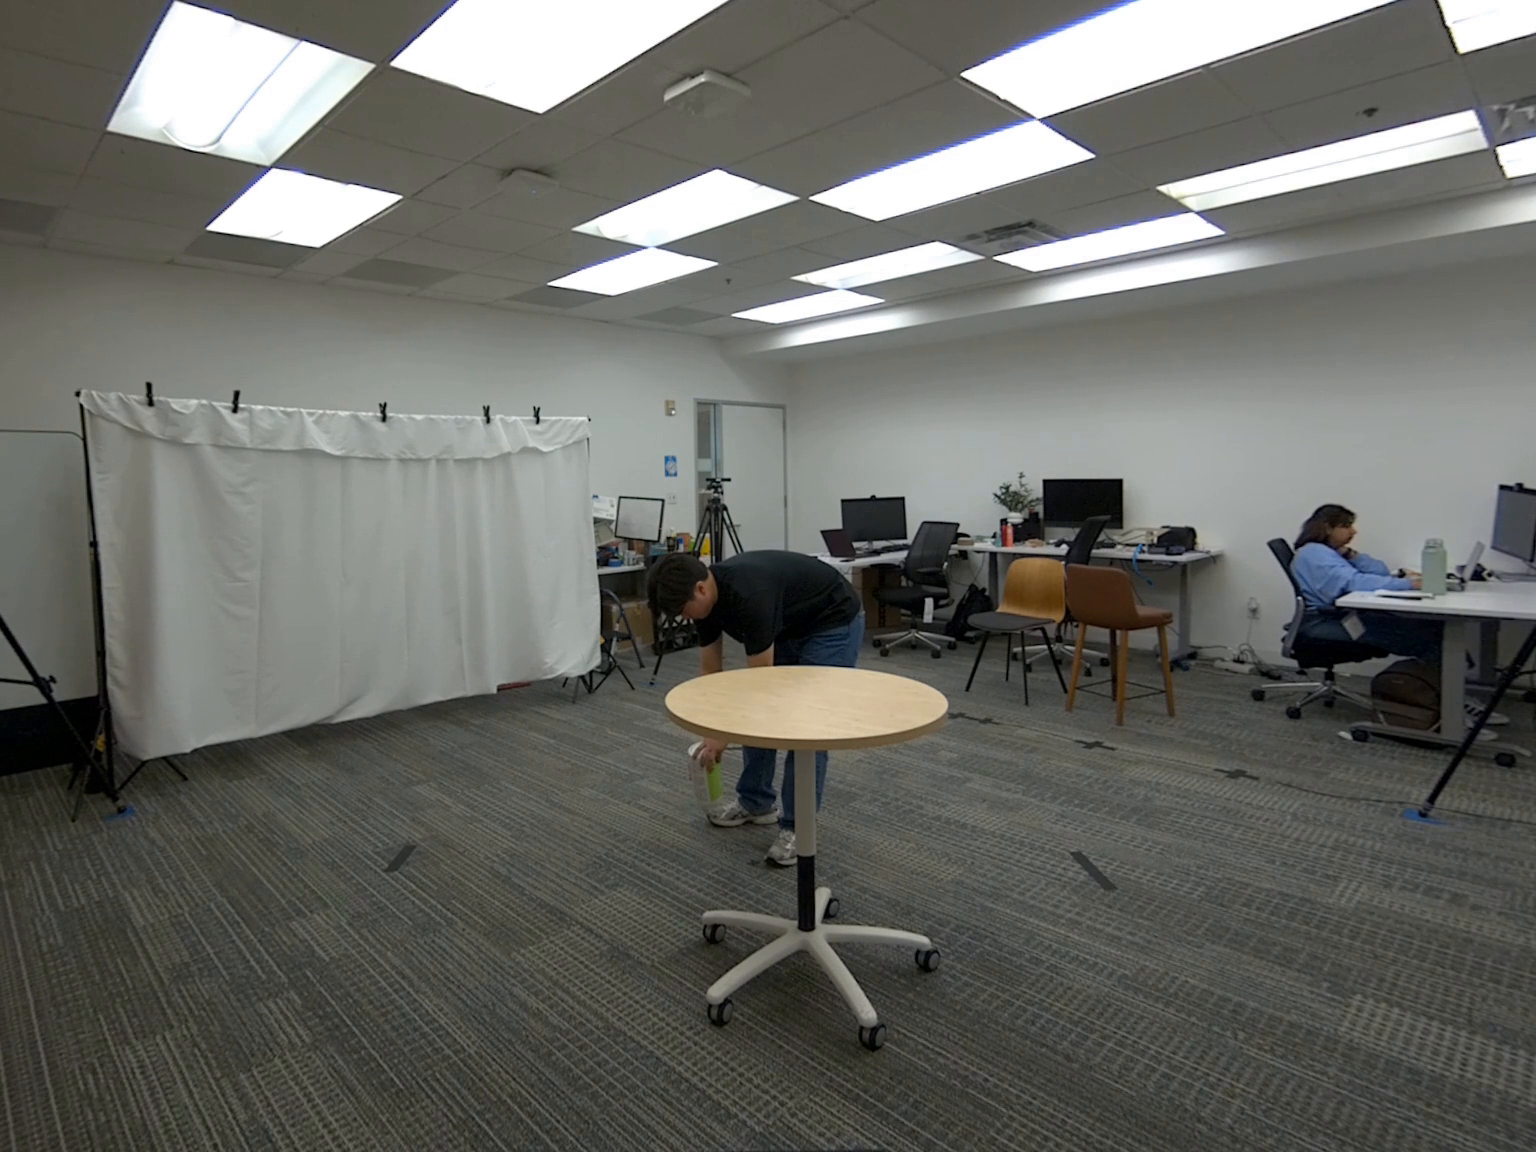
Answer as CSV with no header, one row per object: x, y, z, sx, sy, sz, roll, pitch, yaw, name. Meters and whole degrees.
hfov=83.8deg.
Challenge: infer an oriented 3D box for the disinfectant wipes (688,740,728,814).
-0.220,0.731,3.128,0.118,0.214,0.119,-6,15,0,disinfectant wipes
